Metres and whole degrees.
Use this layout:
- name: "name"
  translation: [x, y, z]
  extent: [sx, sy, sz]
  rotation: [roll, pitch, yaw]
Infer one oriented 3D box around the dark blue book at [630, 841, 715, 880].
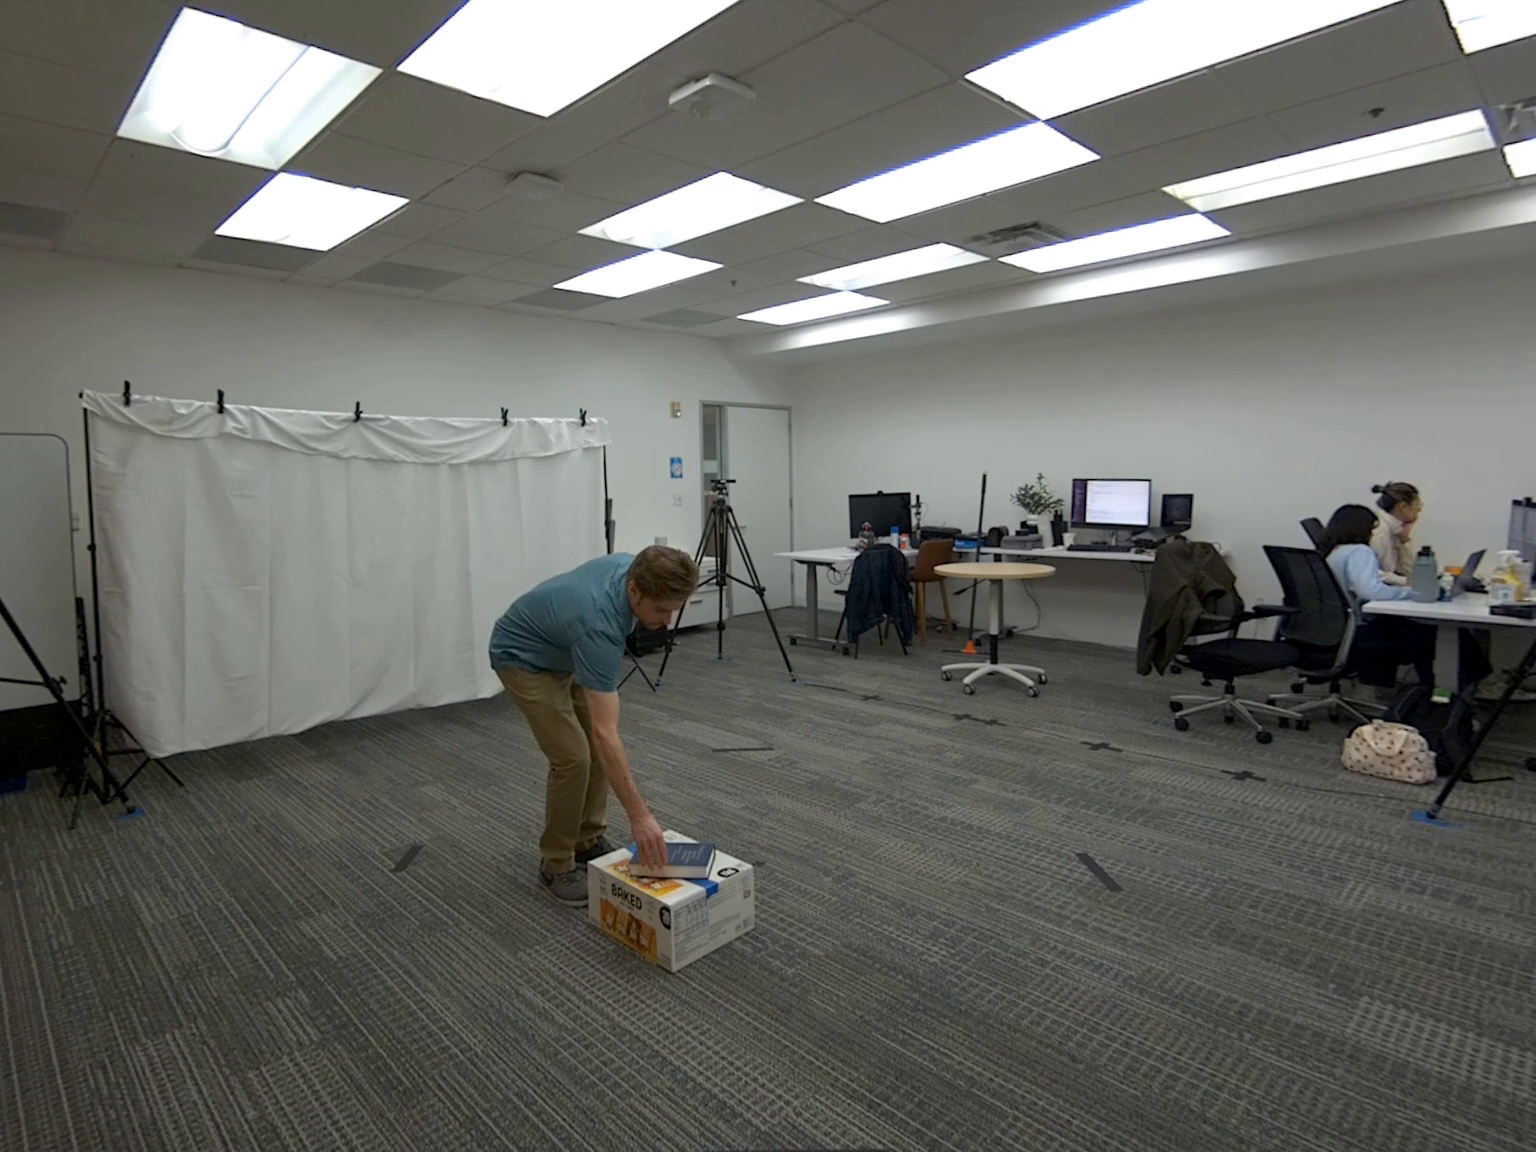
- name: "dark blue book"
  translation: [-0.294, 0.886, 2.653]
  extent: [0.247, 0.045, 0.163]
  rotation: [-2, 5, 6]
